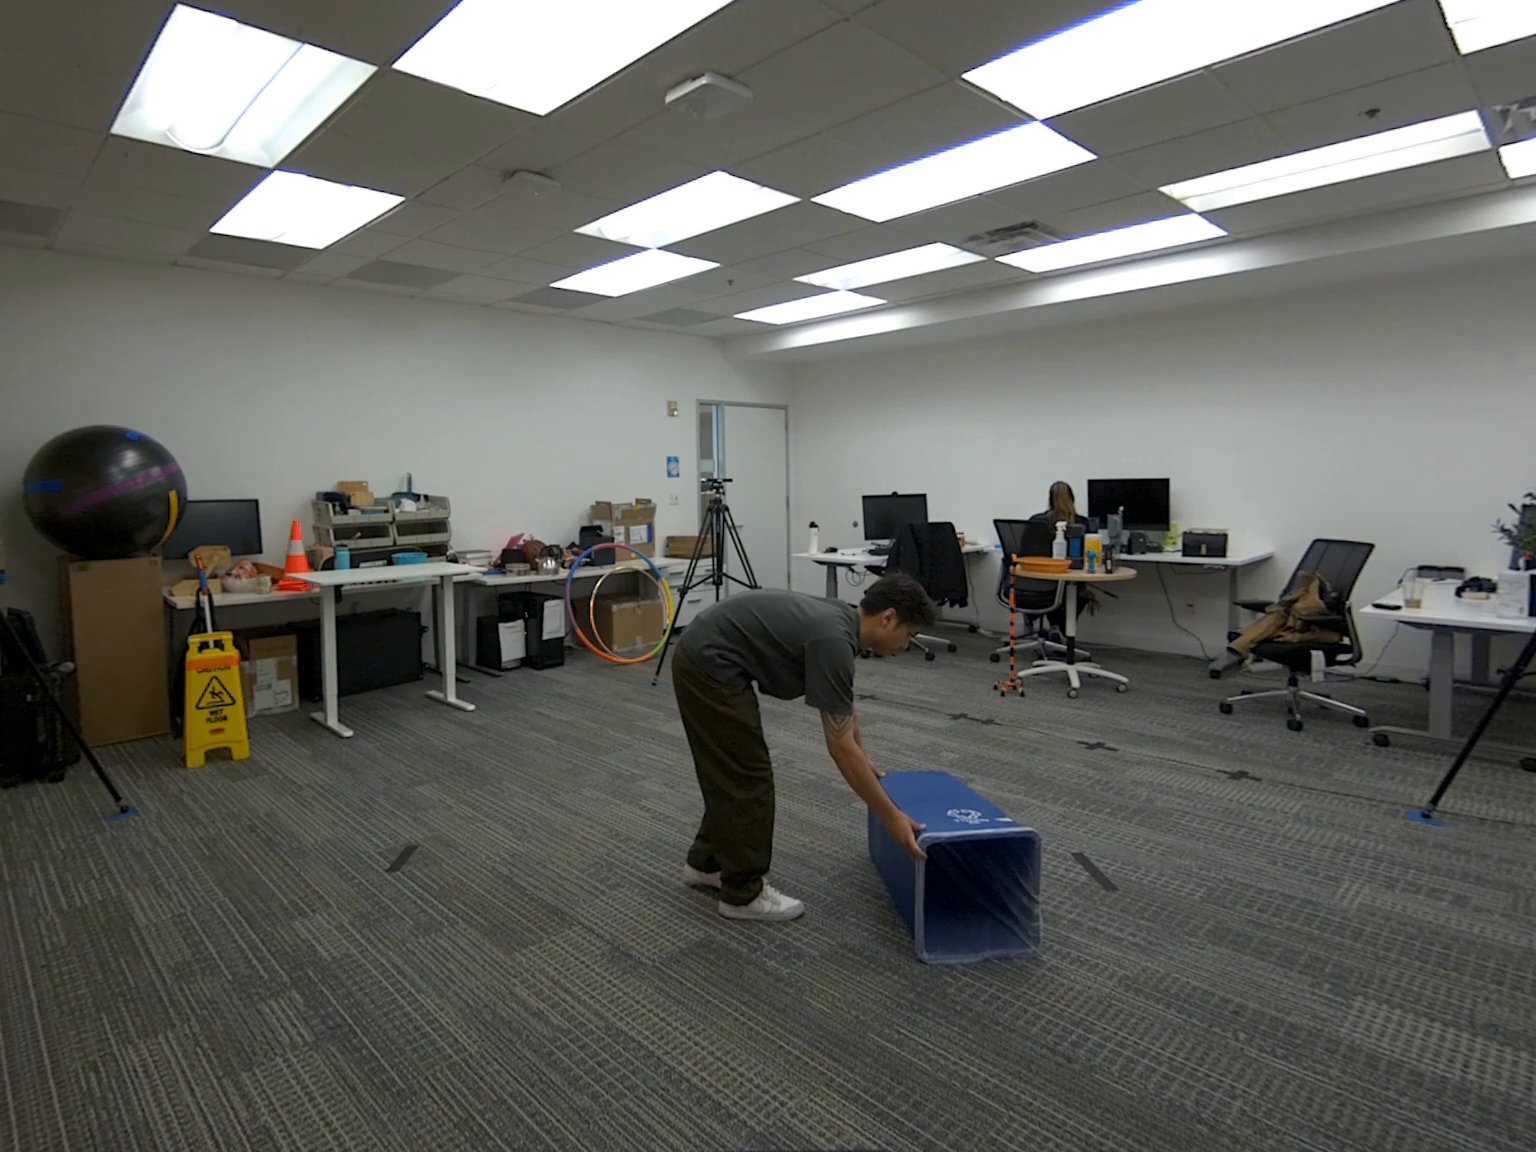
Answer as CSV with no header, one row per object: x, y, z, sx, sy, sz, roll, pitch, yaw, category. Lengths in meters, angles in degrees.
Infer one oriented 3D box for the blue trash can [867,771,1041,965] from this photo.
0.566,0.895,2.809,0.376,0.373,0.720,-2,5,-7,blue trash can
